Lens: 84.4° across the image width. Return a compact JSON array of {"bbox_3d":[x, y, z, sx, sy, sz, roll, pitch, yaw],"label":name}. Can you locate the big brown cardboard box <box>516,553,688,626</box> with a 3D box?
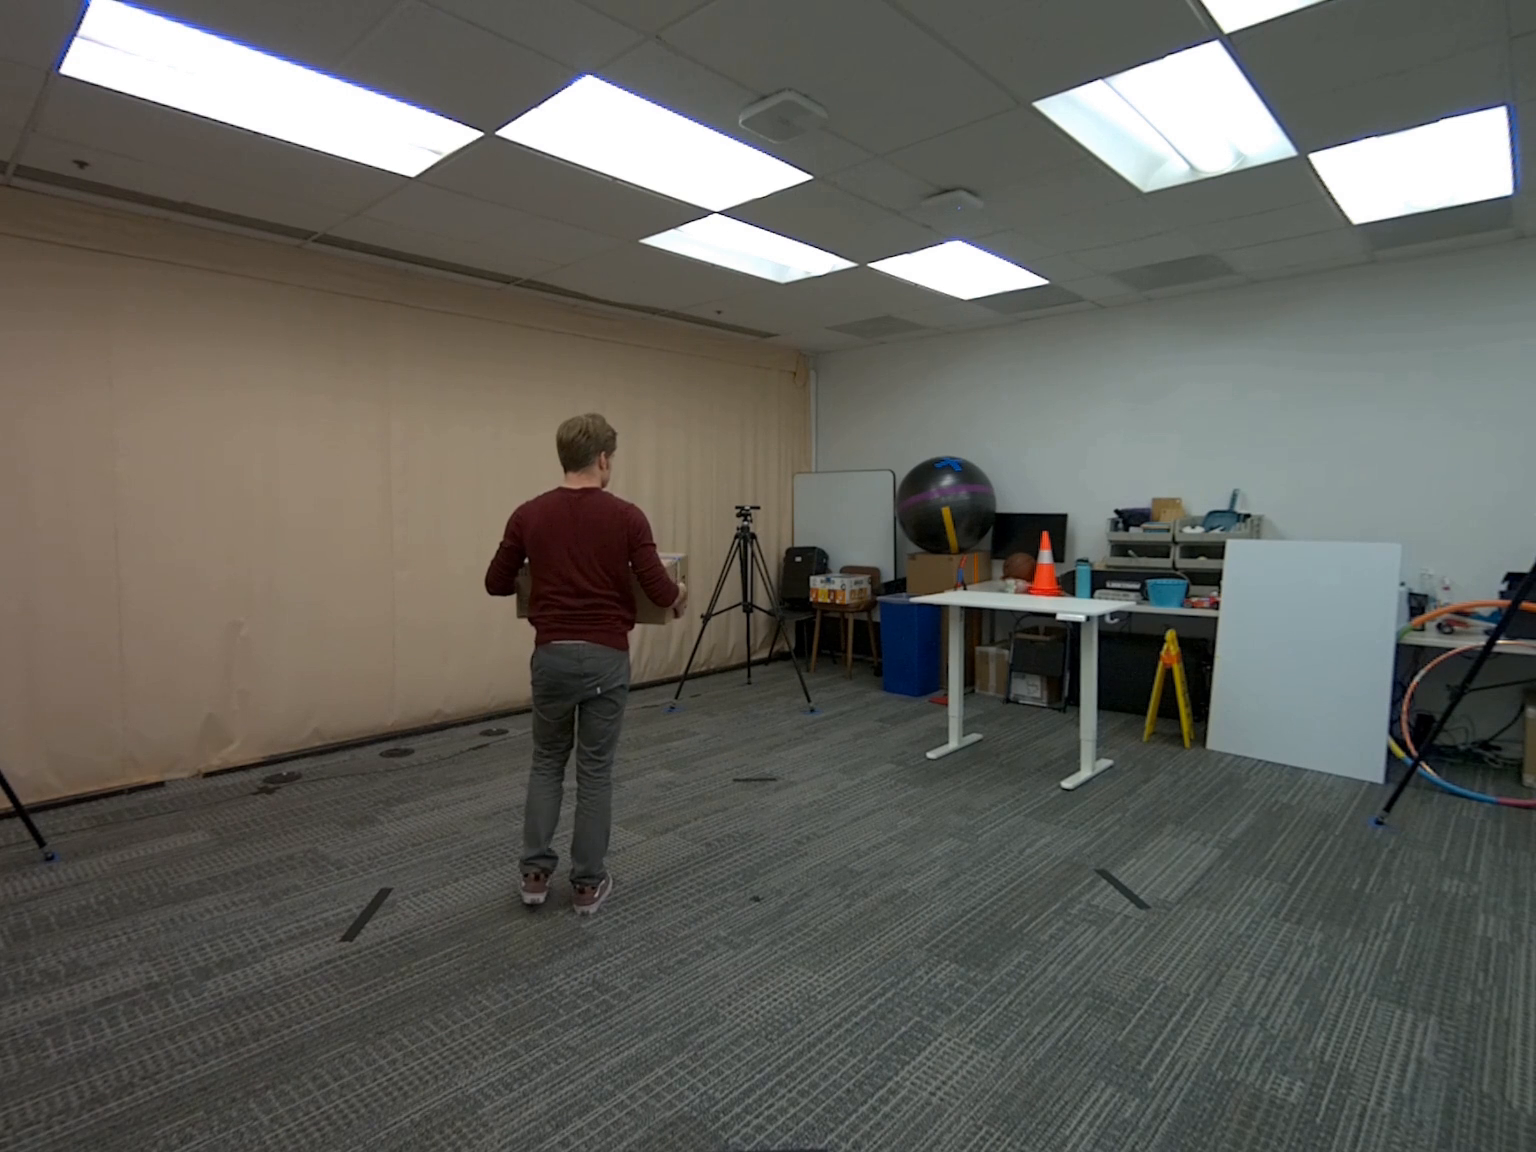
[{"bbox_3d":[-0.633,0.031,3.252,0.595,0.232,0.415,3,8,8],"label":"big brown cardboard box"}]
